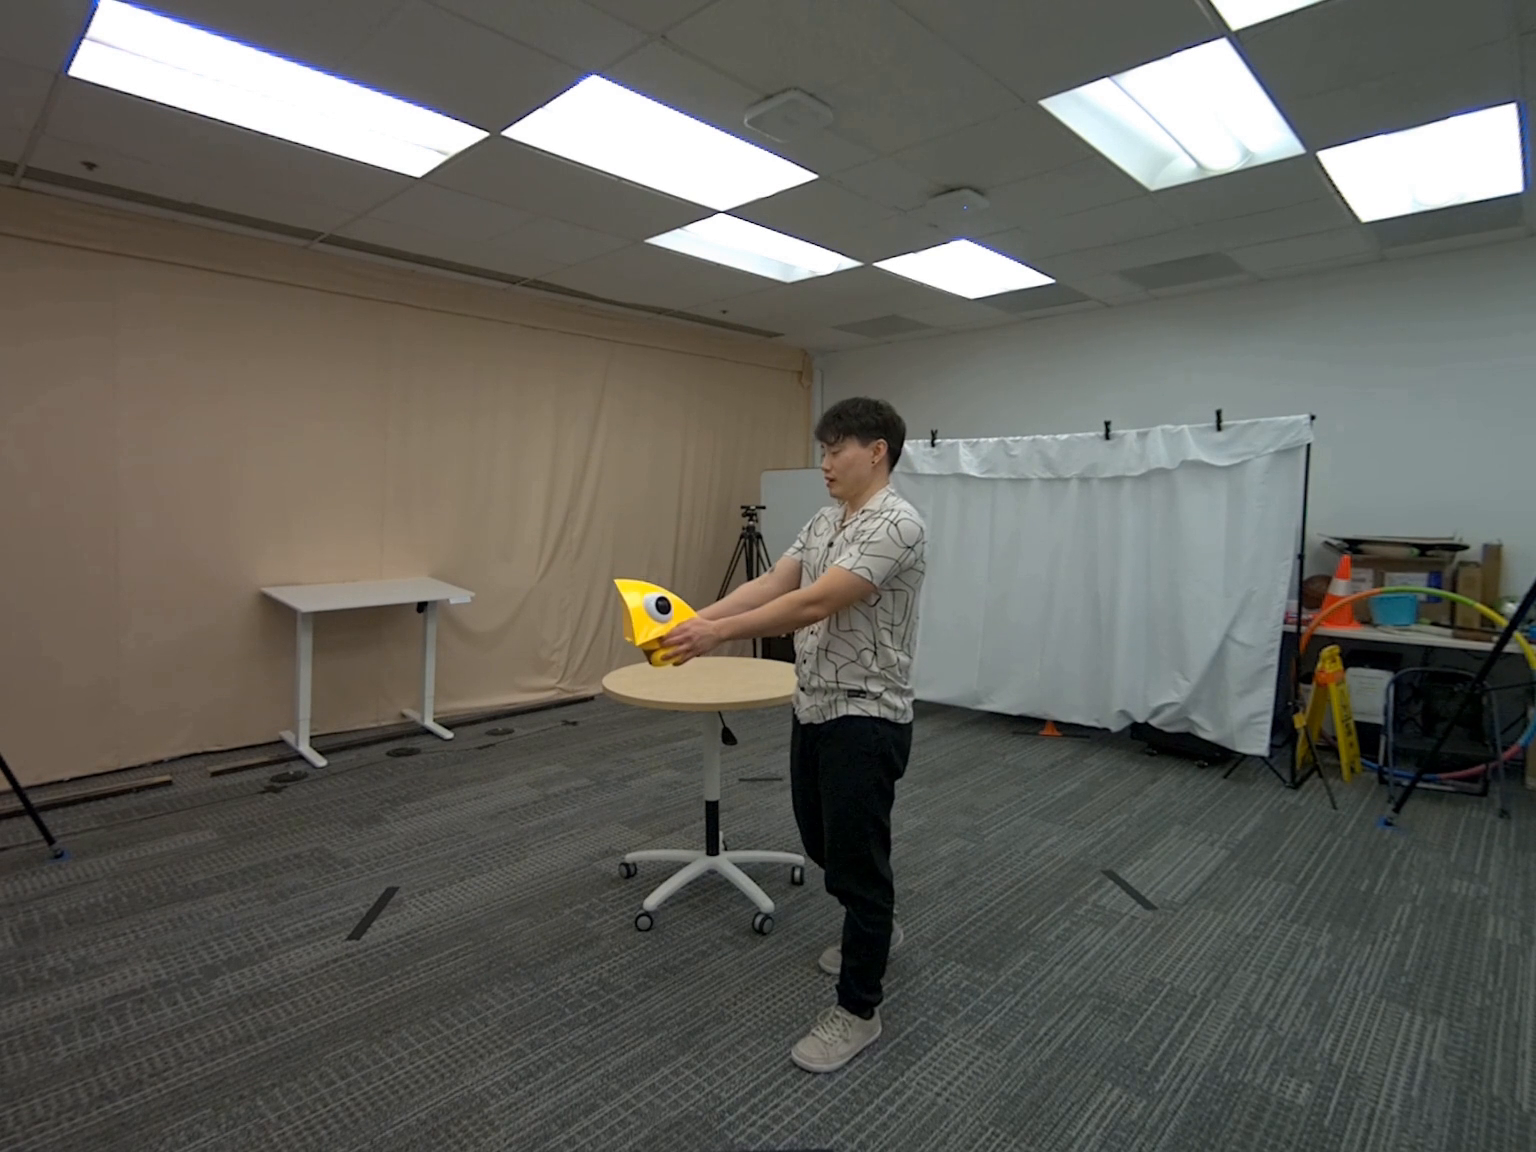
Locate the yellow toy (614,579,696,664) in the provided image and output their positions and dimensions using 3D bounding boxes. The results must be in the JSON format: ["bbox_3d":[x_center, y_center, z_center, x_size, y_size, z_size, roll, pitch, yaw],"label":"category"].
[{"bbox_3d":[-0.269,0.092,2.104,0.191,0.229,0.208,-27,9,-16],"label":"yellow toy"}]
